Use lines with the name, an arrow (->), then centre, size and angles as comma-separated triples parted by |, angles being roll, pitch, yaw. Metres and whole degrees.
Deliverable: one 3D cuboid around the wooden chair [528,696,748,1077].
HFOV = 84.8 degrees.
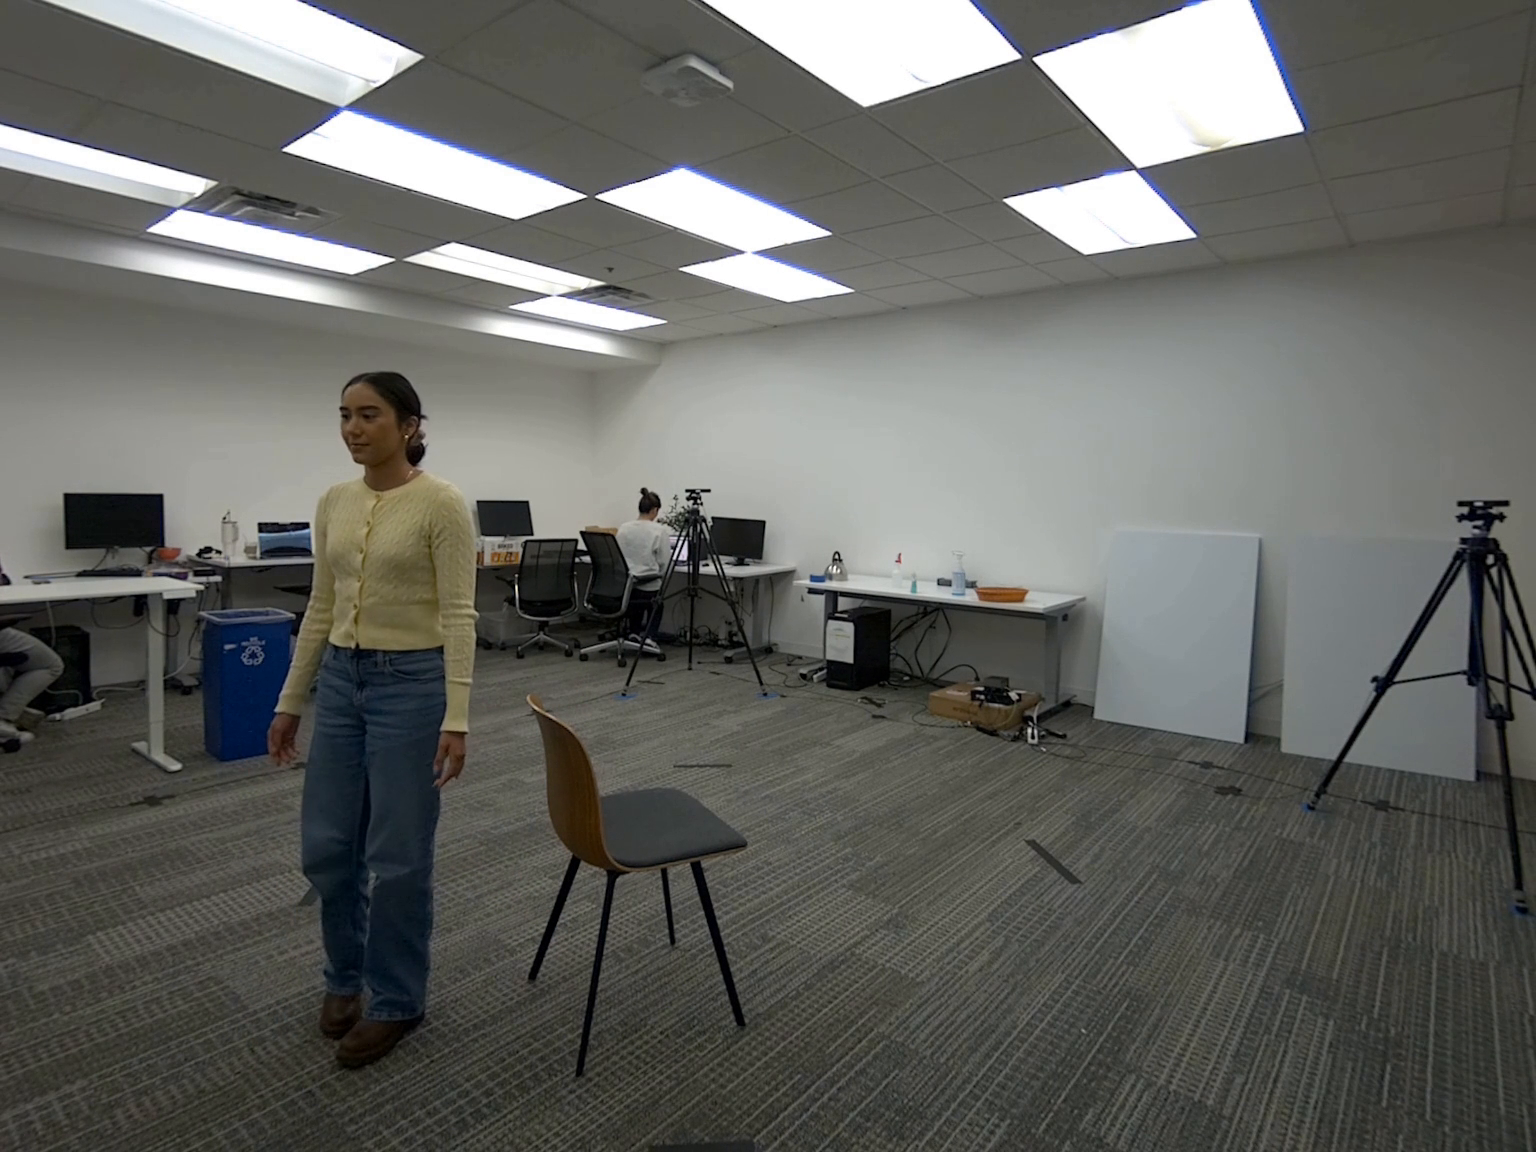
wooden chair -> -0.359, 0.724, 2.287 | 0.511, 0.873, 0.492 | -6, 6, -29
